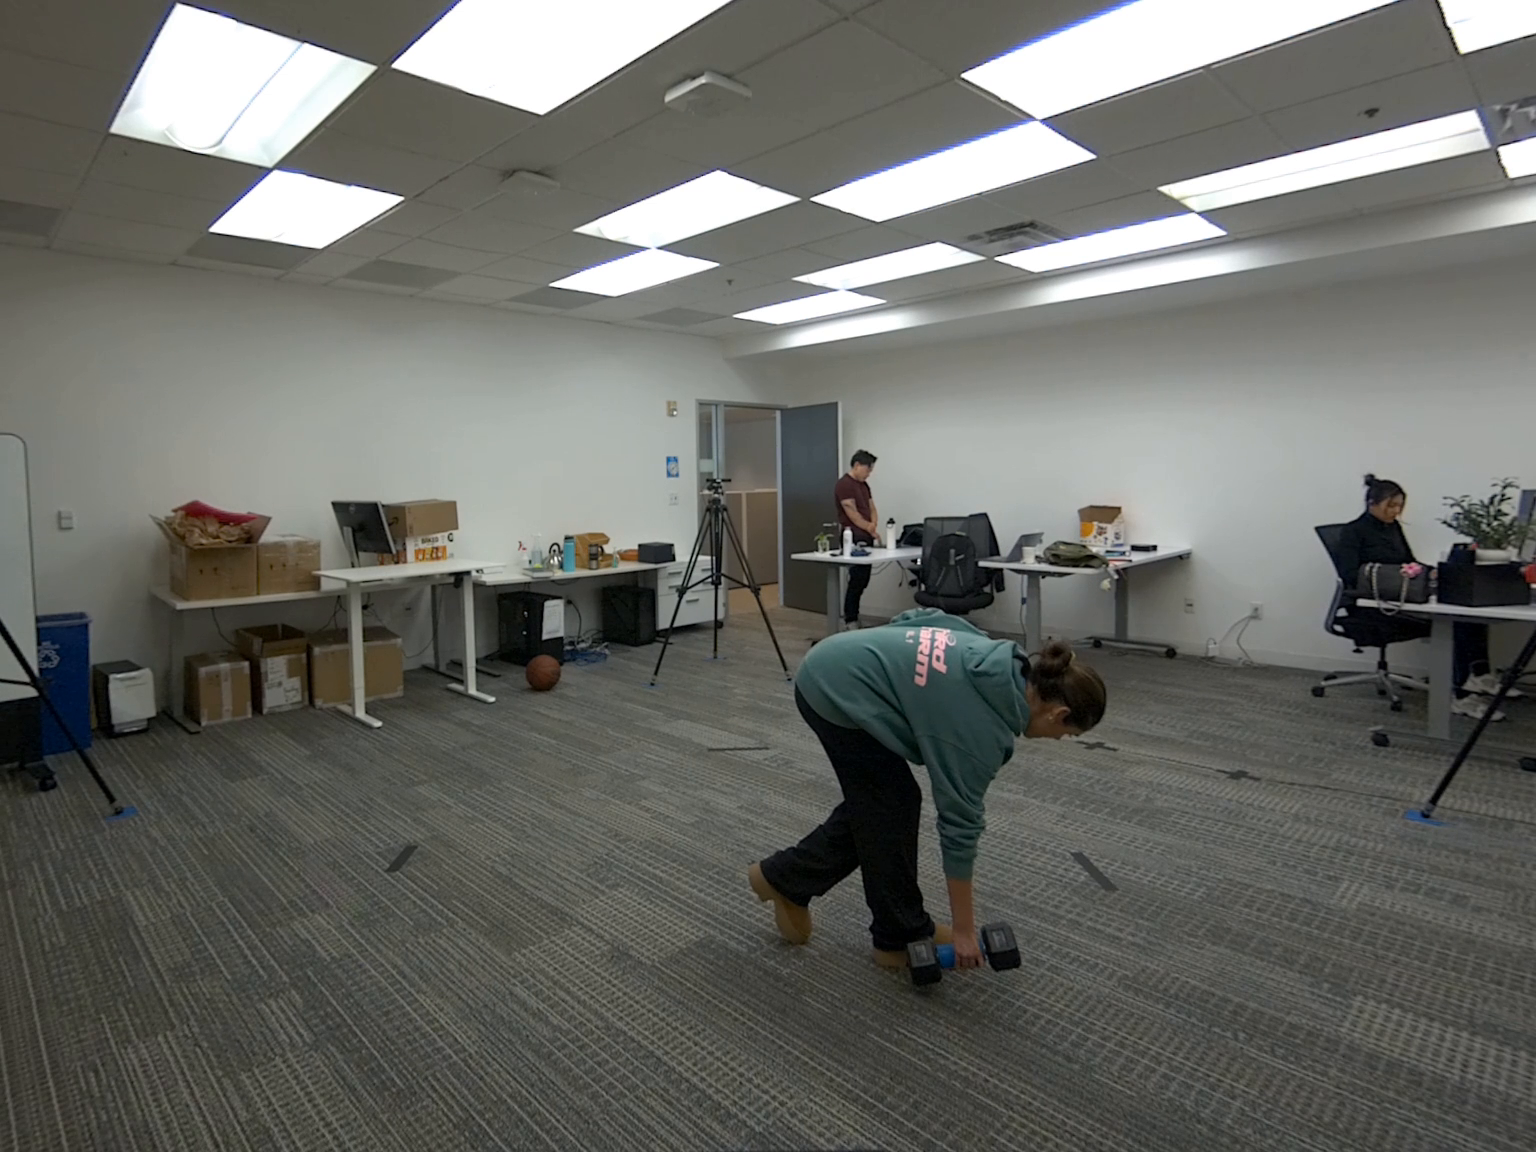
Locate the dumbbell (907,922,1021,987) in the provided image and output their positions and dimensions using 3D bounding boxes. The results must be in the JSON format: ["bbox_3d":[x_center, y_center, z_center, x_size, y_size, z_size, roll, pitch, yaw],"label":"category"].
[{"bbox_3d":[0.531,1.021,2.310,0.295,0.121,0.110,-11,15,6],"label":"dumbbell"}]
